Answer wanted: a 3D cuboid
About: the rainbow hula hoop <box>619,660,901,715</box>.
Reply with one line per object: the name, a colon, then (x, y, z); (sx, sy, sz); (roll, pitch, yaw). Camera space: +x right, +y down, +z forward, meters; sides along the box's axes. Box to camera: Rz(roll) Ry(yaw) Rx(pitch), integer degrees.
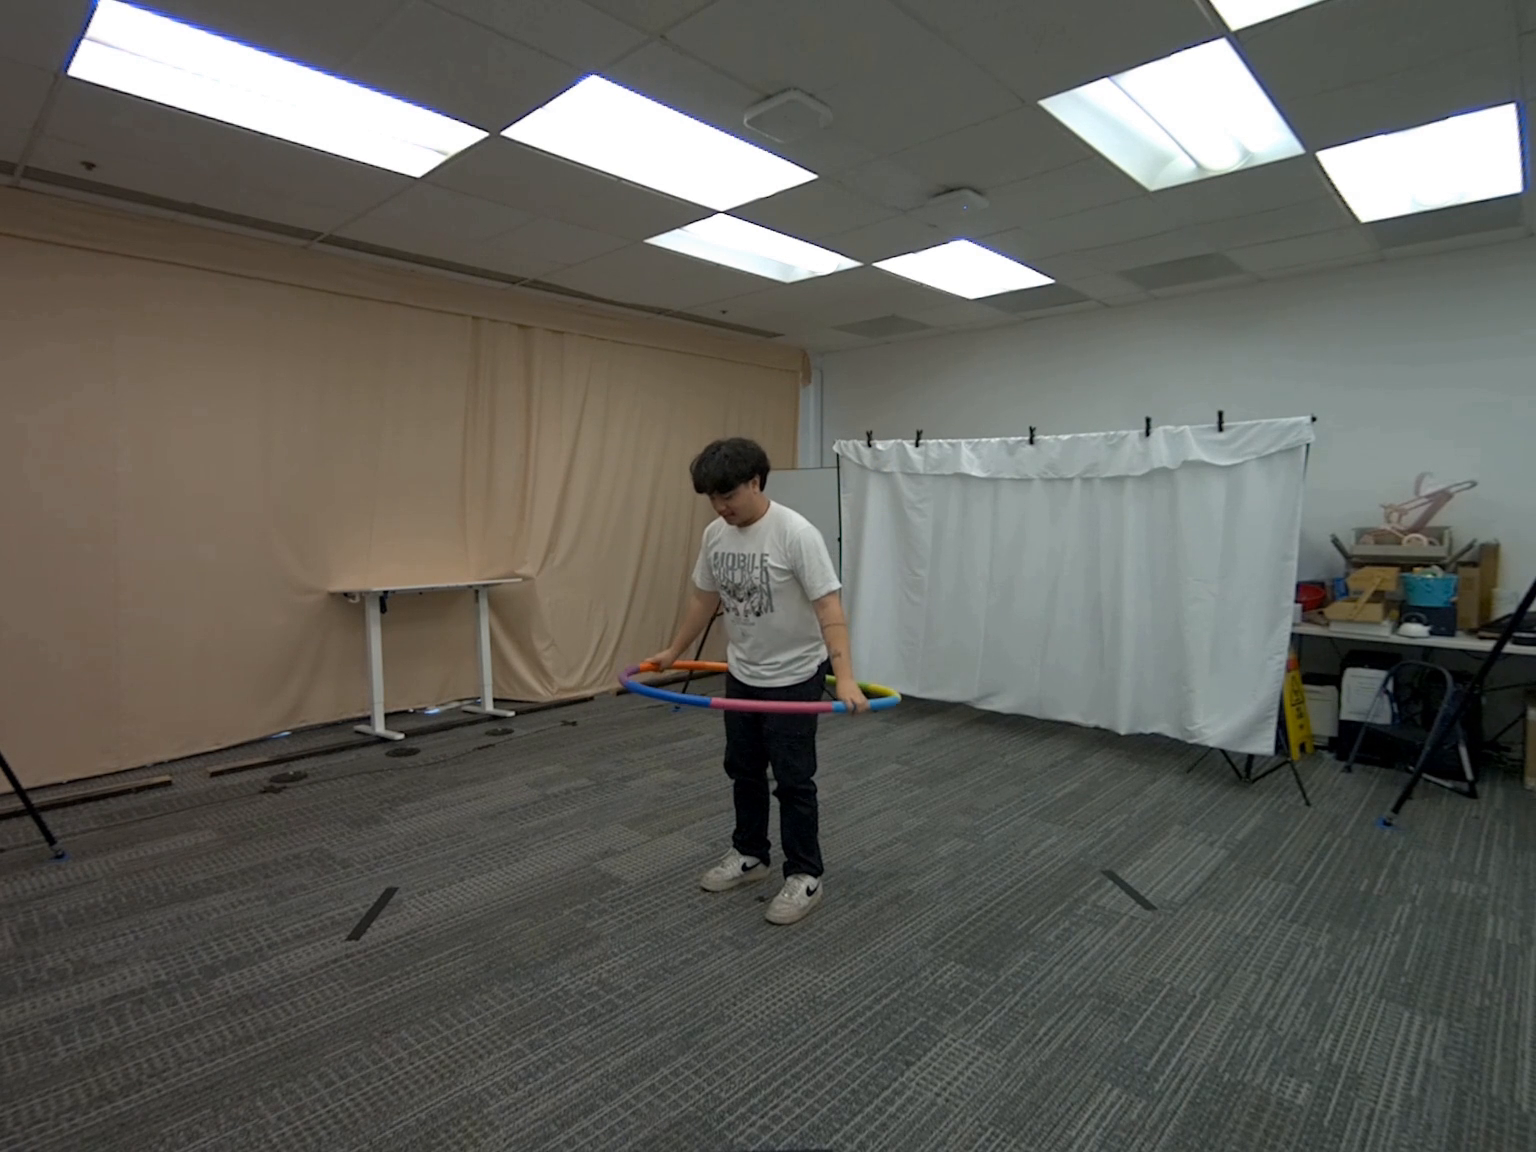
rainbow hula hoop: (-0.031, 0.387, 2.968); (0.985, 0.051, 0.986); (5, 0, -2)
